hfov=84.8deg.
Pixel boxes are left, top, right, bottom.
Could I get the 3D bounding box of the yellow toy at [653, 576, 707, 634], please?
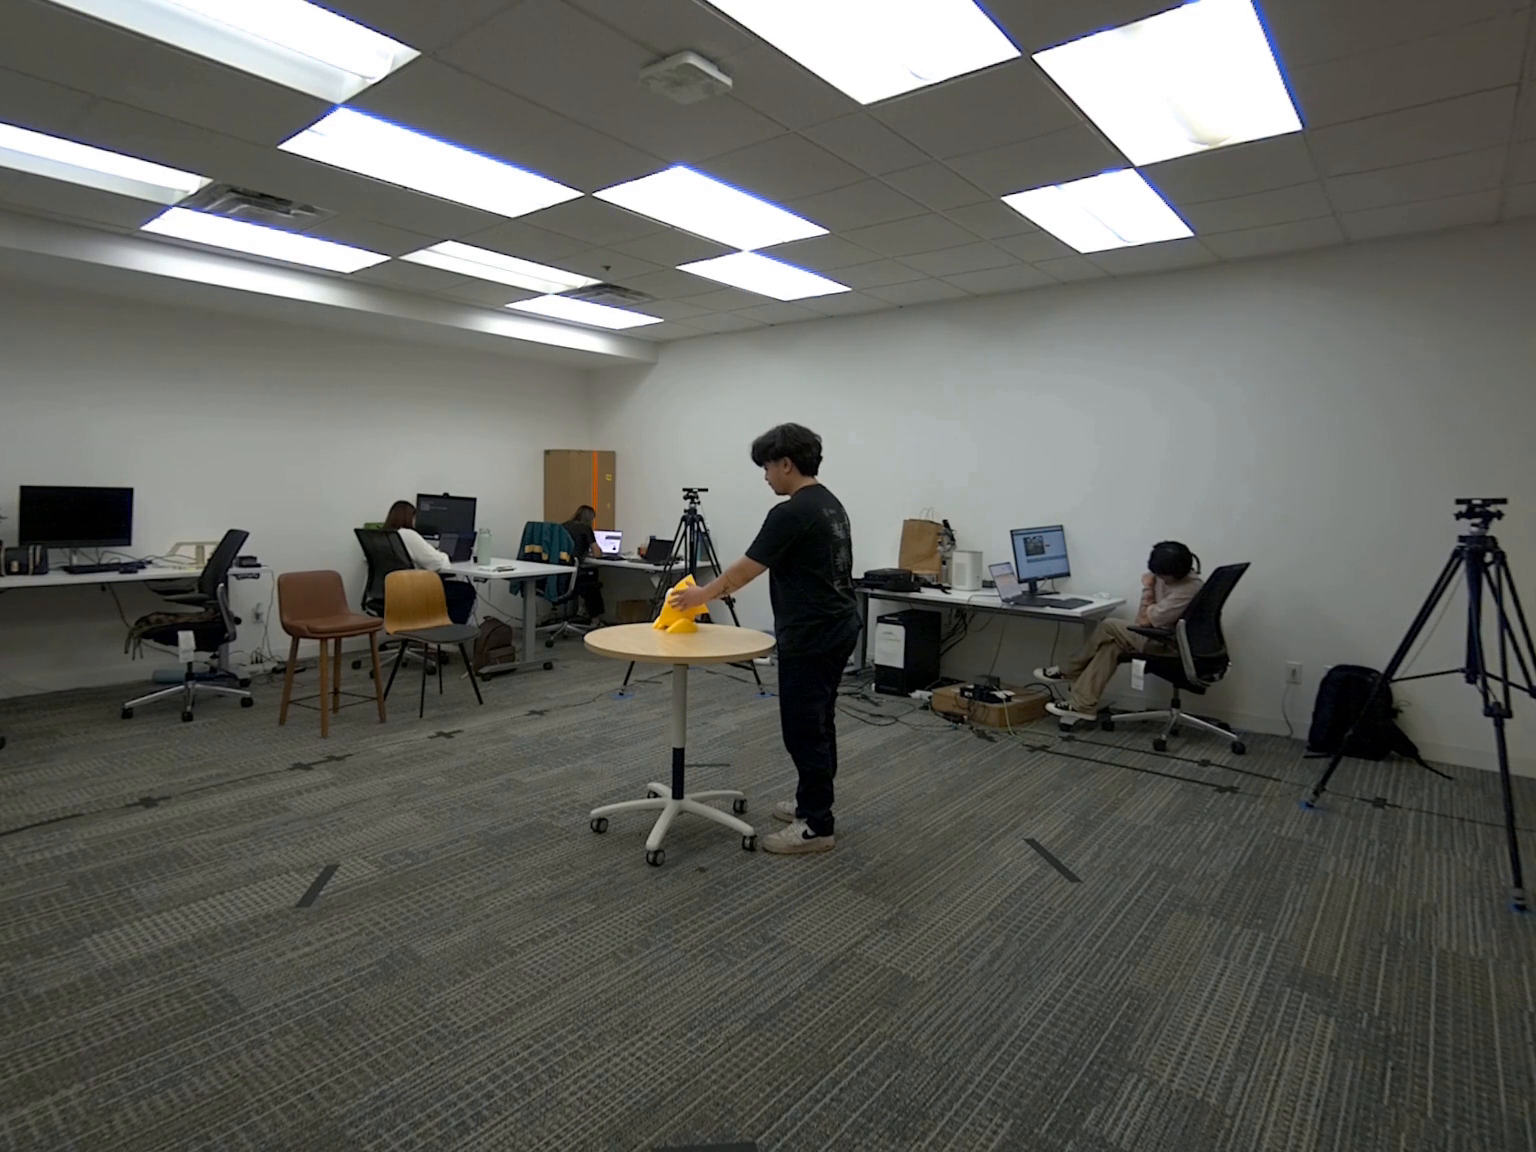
[{"bbox_3d":[-0.398,0.107,3.638,0.187,0.230,0.211,-3,6,-35],"label":"yellow toy"}]
